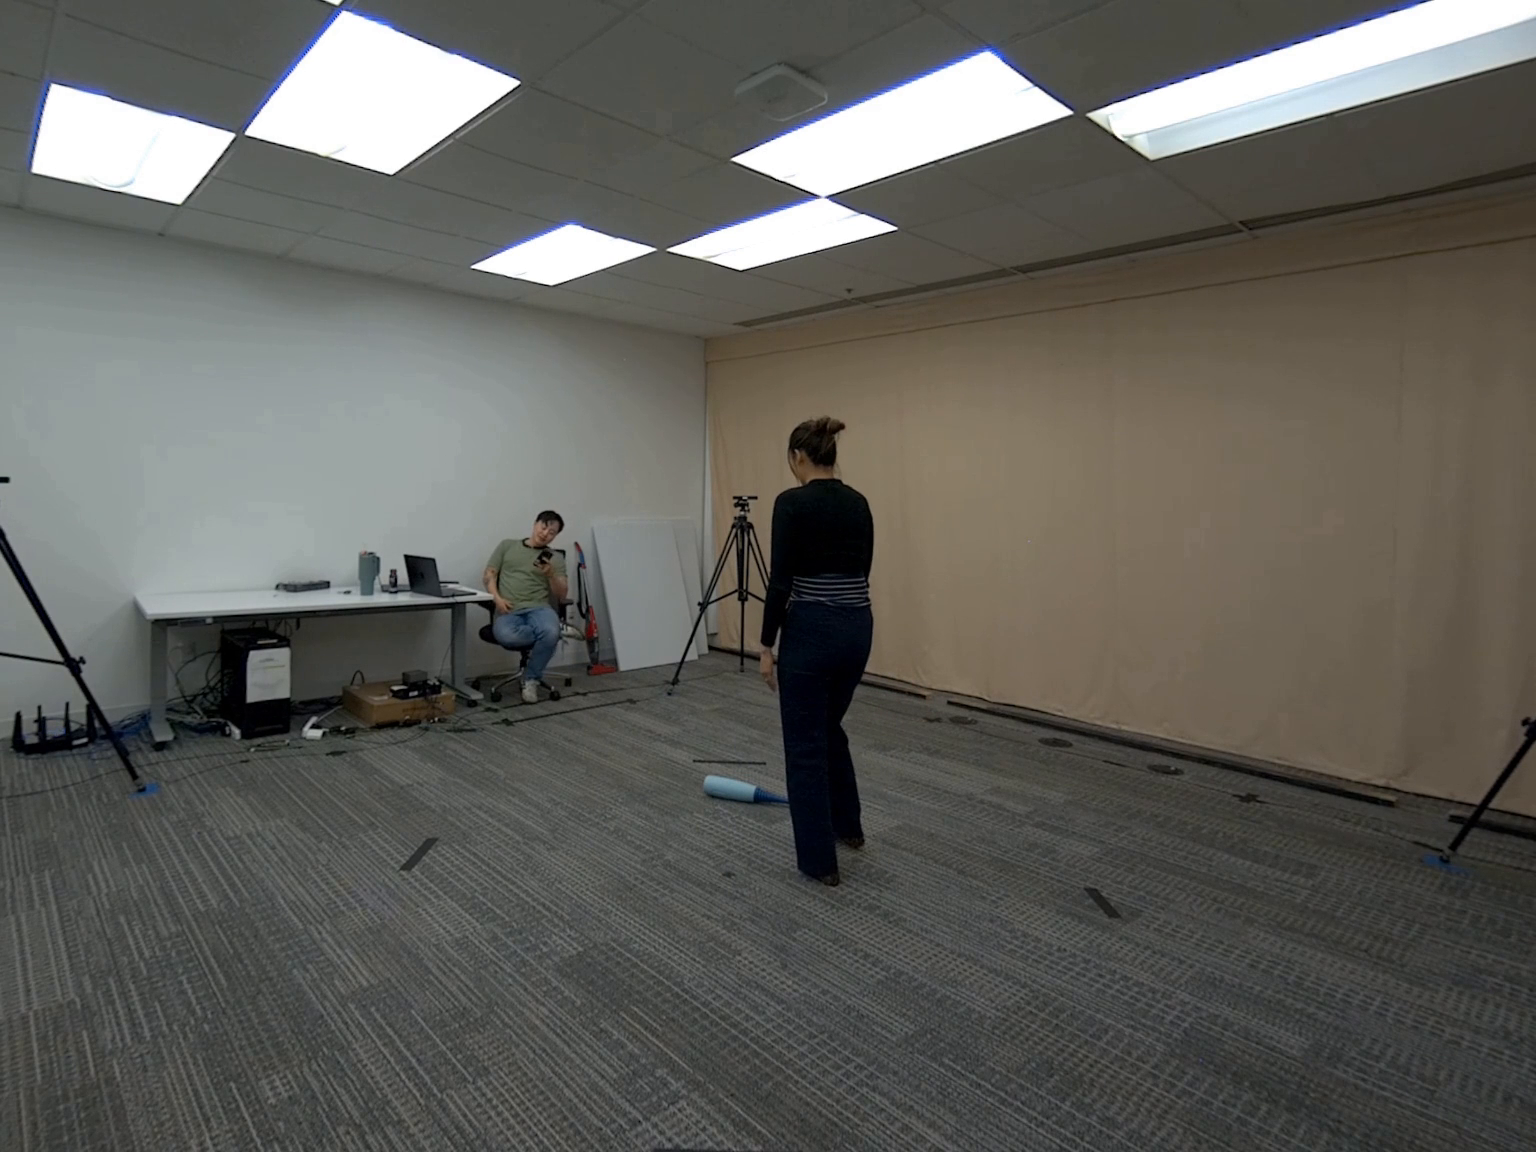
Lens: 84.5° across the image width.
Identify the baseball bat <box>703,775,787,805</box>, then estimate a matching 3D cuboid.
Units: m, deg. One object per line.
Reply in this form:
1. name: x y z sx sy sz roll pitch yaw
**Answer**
1. baseball bat: -0.044 1.005 3.850 0.551 0.089 0.088 7 6 18
